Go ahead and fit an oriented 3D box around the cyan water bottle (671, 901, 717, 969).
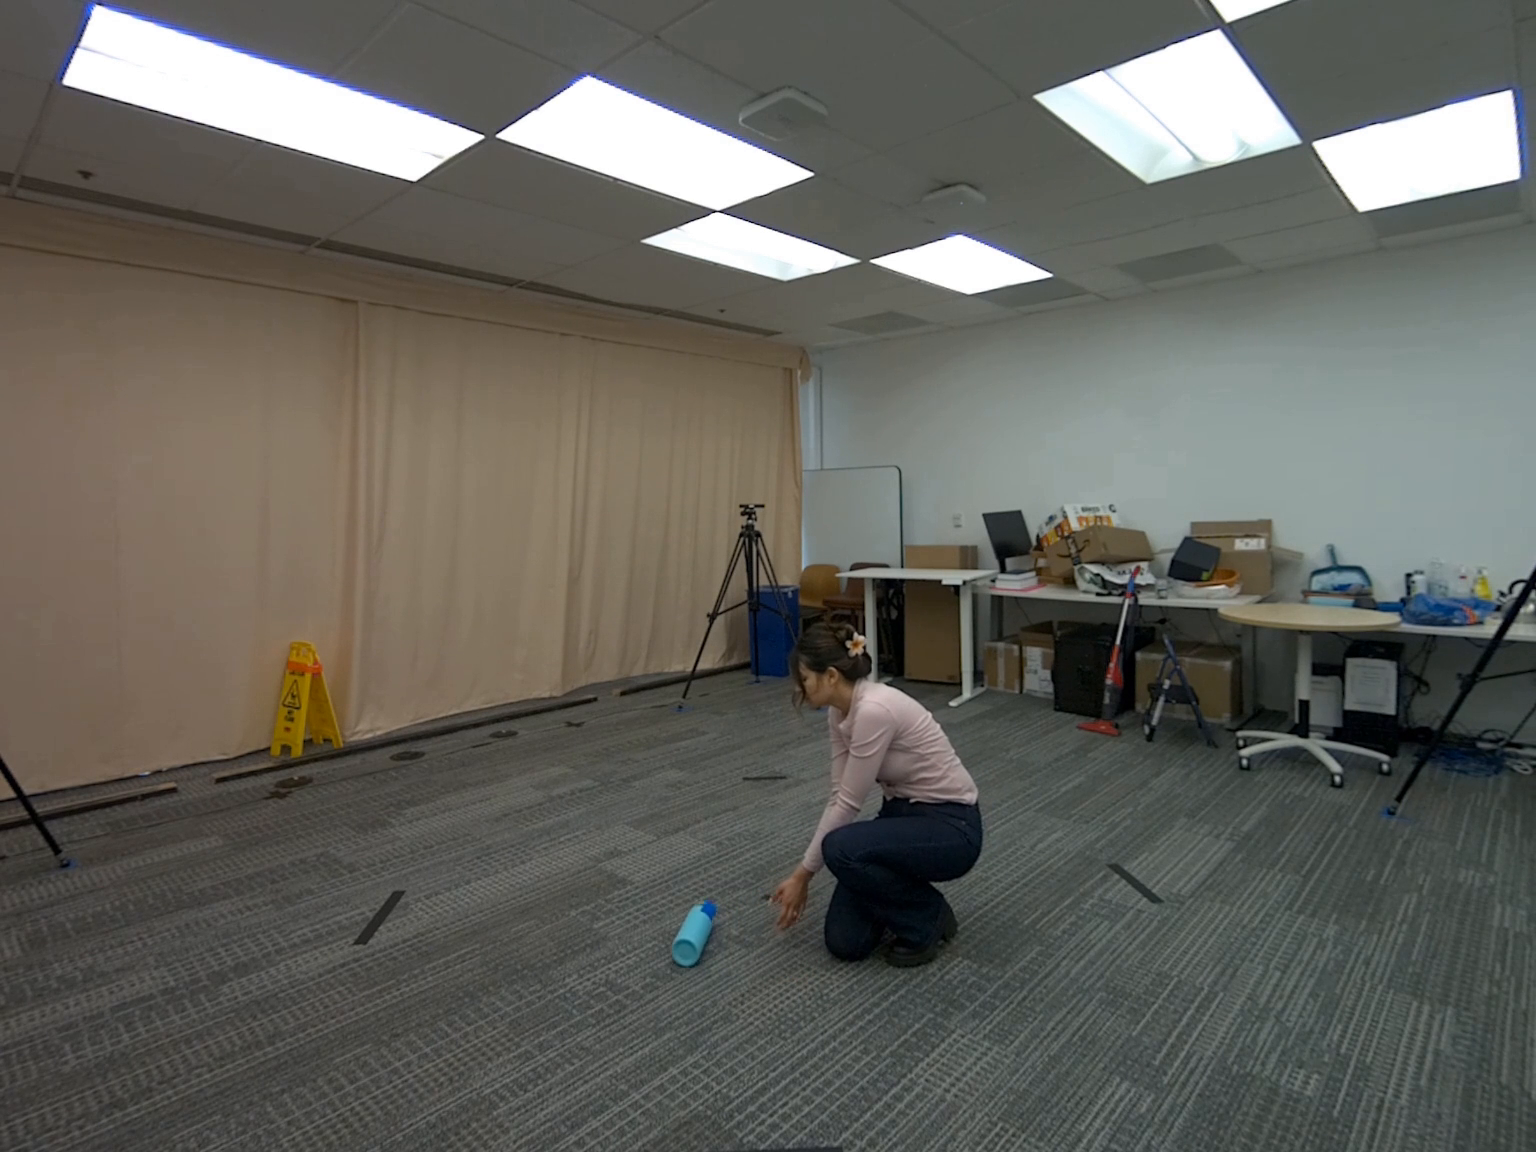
[{"bbox_3d":[-0.224,1.131,2.672,0.093,0.092,0.281,0,2,7],"label":"cyan water bottle"}]
